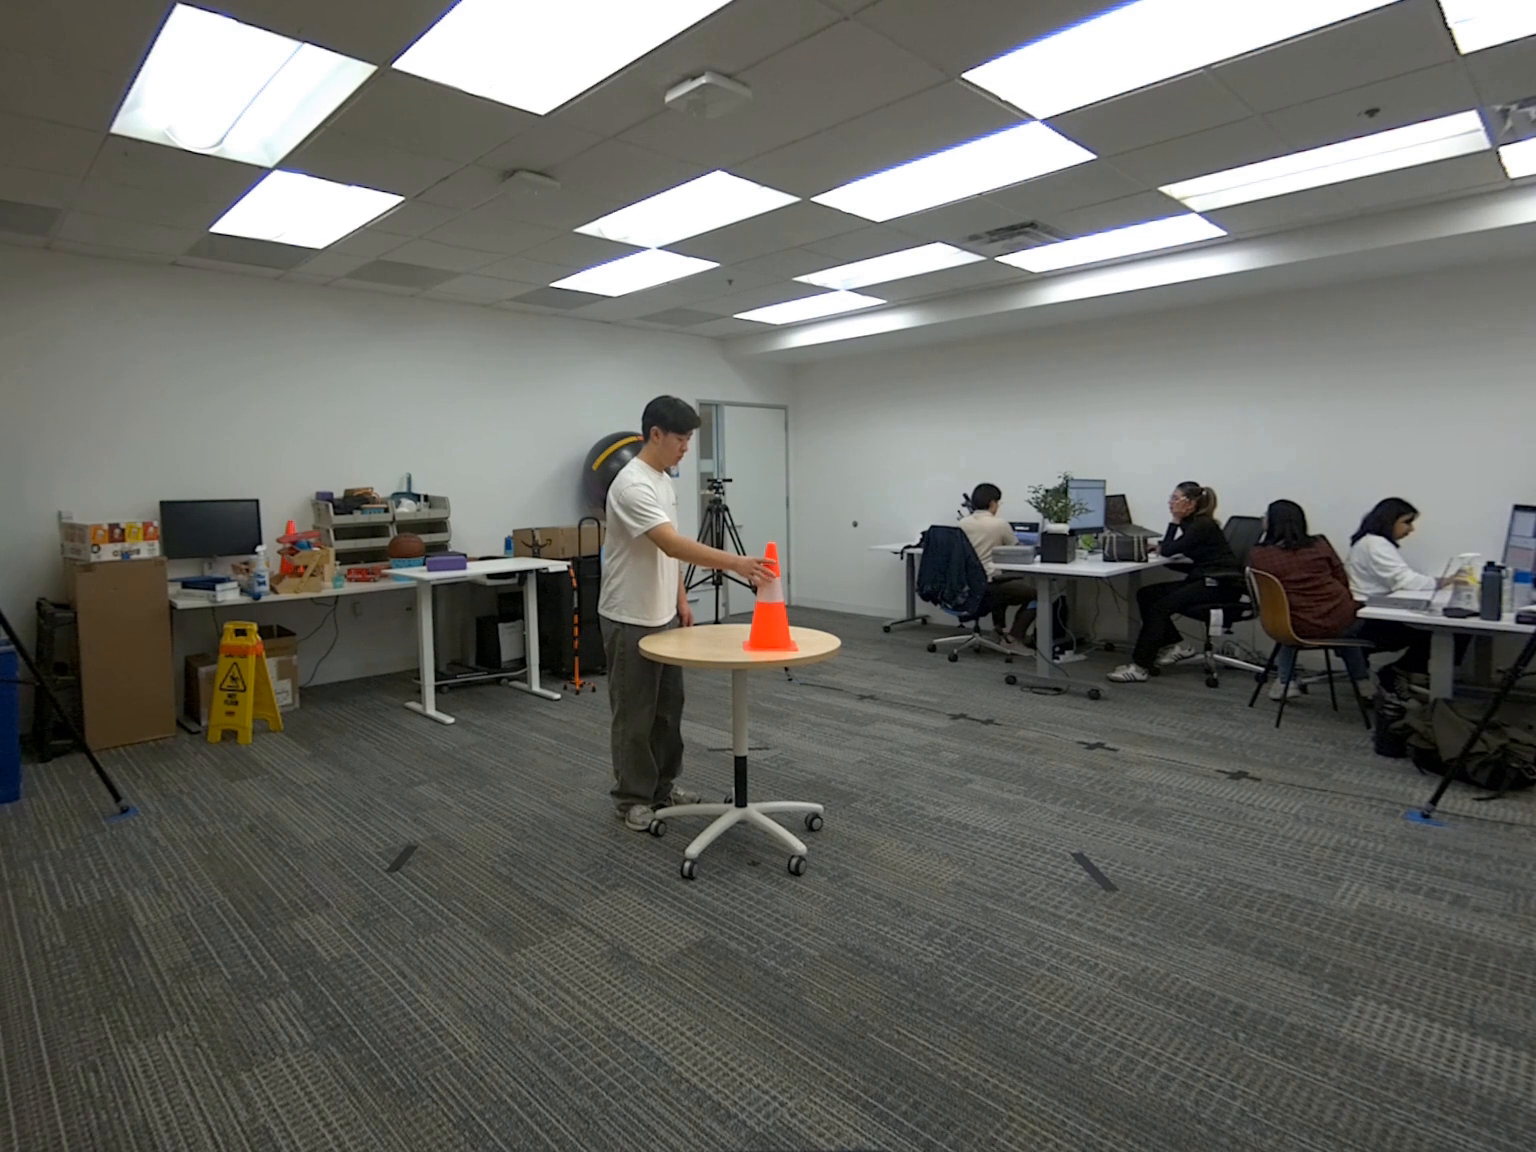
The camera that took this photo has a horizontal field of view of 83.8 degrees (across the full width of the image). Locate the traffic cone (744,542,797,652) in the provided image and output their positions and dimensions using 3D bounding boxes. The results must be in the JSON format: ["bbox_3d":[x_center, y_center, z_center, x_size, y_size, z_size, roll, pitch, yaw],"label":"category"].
[{"bbox_3d":[0.005,0.070,3.135,0.203,0.382,0.206,-2,4,-2],"label":"traffic cone"}]
